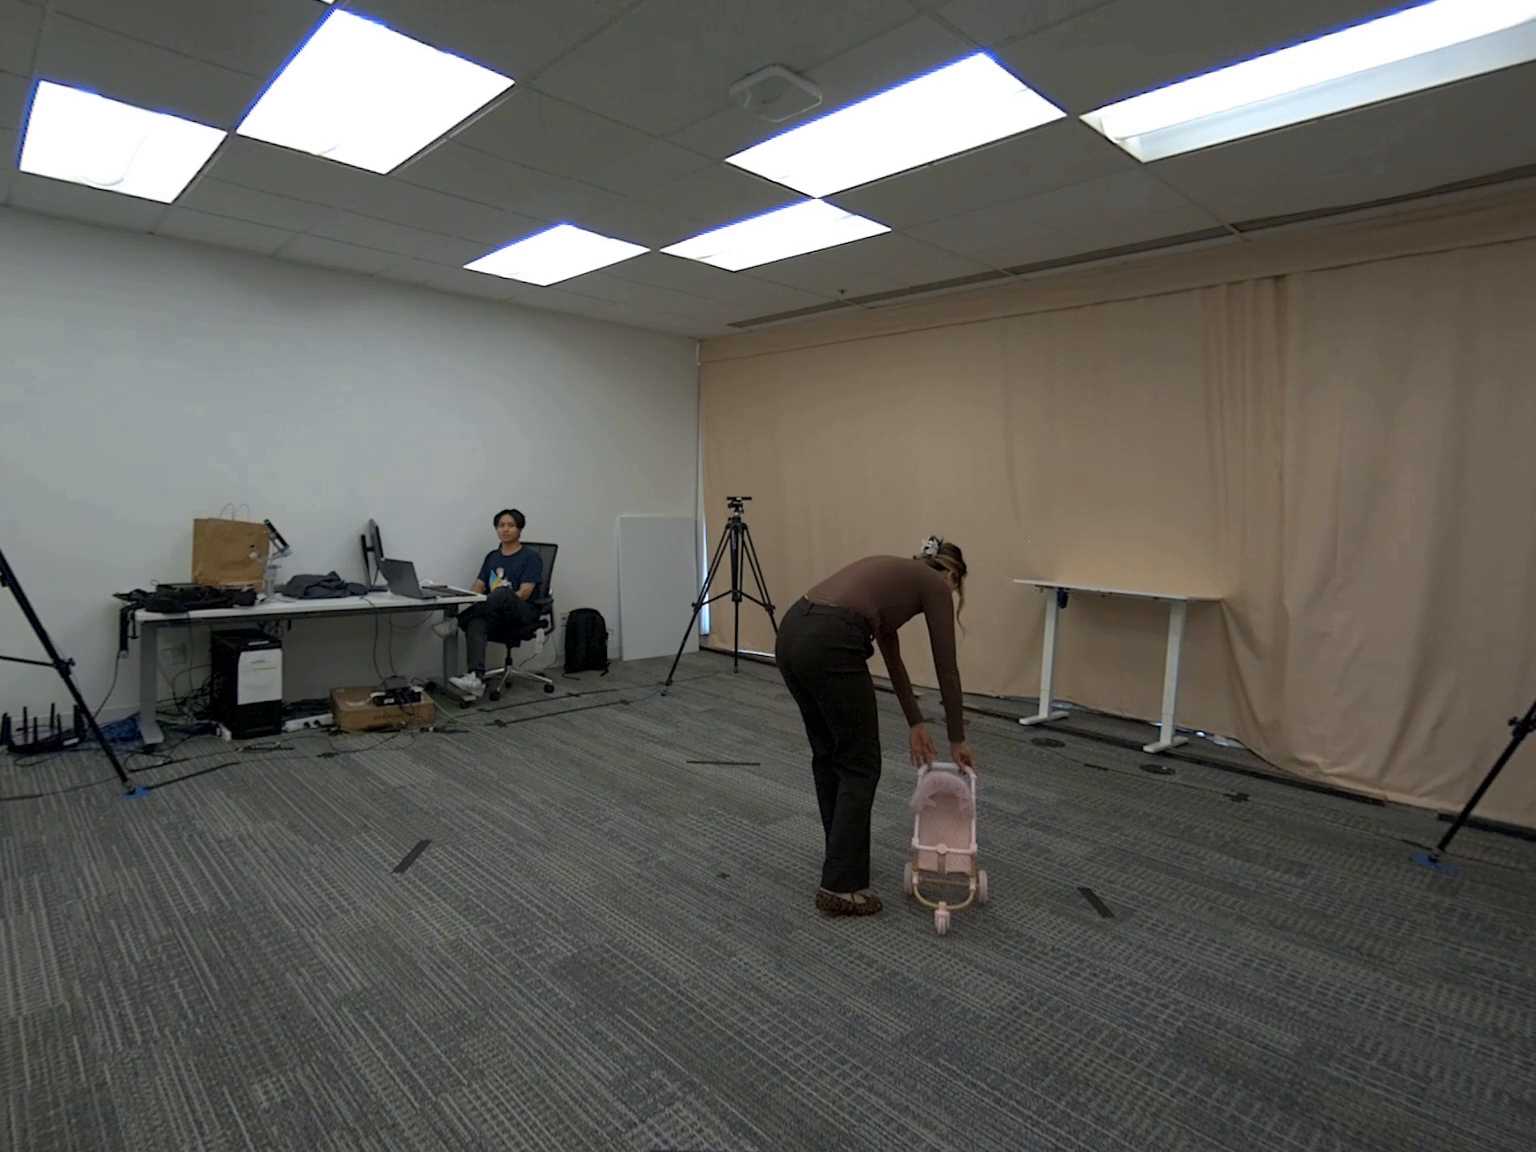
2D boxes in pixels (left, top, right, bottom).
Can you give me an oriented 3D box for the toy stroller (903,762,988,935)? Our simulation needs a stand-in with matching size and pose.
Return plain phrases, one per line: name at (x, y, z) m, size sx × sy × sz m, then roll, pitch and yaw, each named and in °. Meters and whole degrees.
toy stroller at (0.594, 0.915, 2.885) m, size 0.285 × 0.539 × 0.333 m, roll 0°, pitch -12°, yaw 19°
